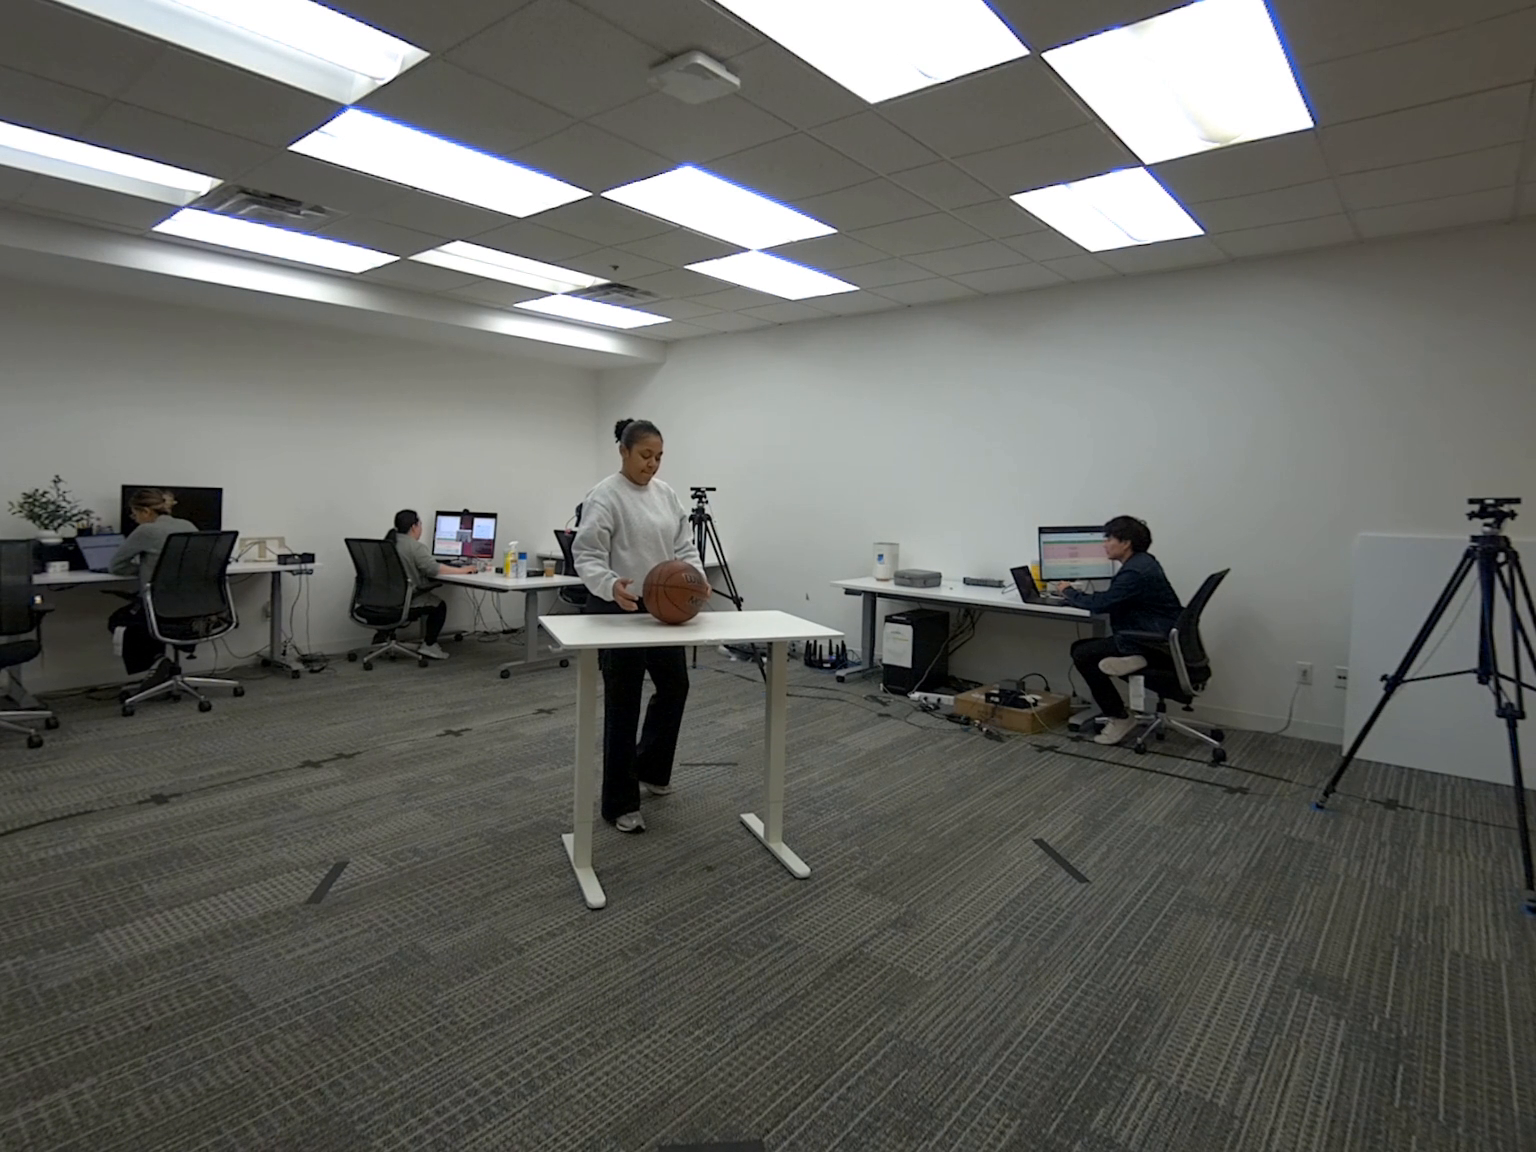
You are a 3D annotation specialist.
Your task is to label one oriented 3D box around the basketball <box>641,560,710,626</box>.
[{"bbox_3d":[-0.366,0.056,3.164,0.235,0.235,0.237,1,4,-2],"label":"basketball"}]
